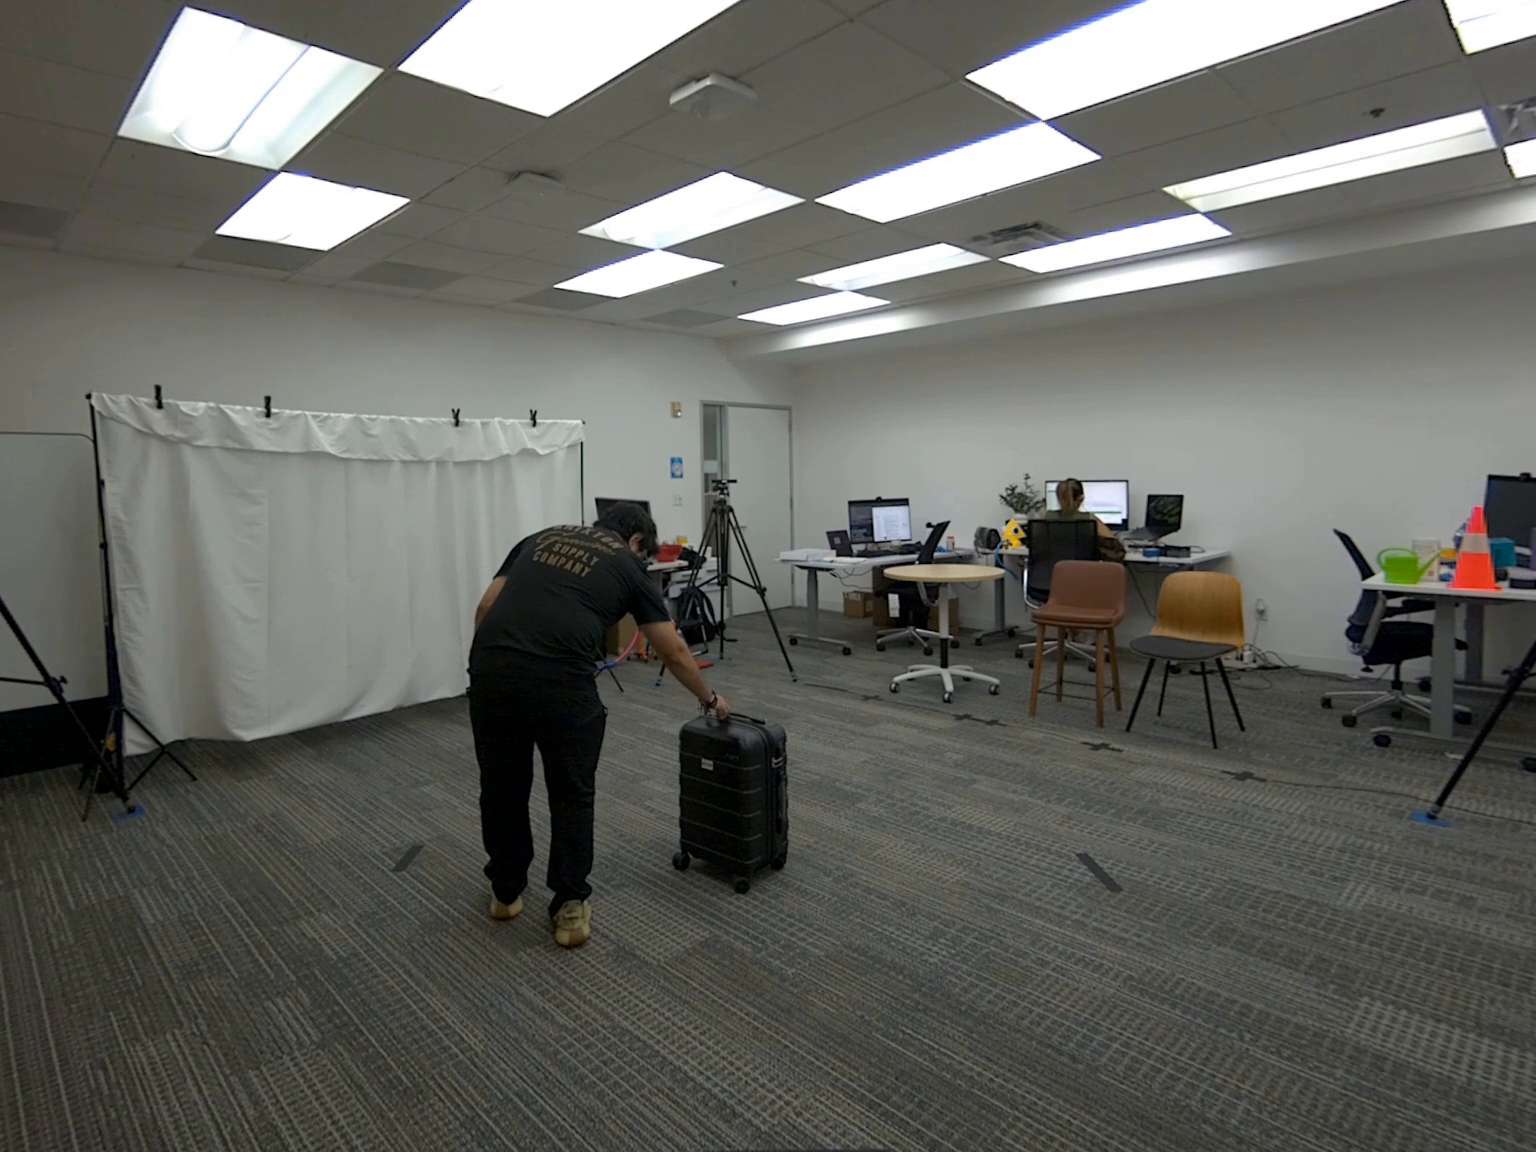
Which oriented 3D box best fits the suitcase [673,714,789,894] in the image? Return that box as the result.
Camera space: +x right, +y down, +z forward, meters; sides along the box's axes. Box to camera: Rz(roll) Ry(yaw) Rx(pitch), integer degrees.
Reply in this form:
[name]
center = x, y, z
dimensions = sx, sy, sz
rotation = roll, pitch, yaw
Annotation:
[suitcase]
center = -0.125, 0.779, 3.060
dimensions = 0.387, 0.547, 0.242
rotation = 4, 5, 38
